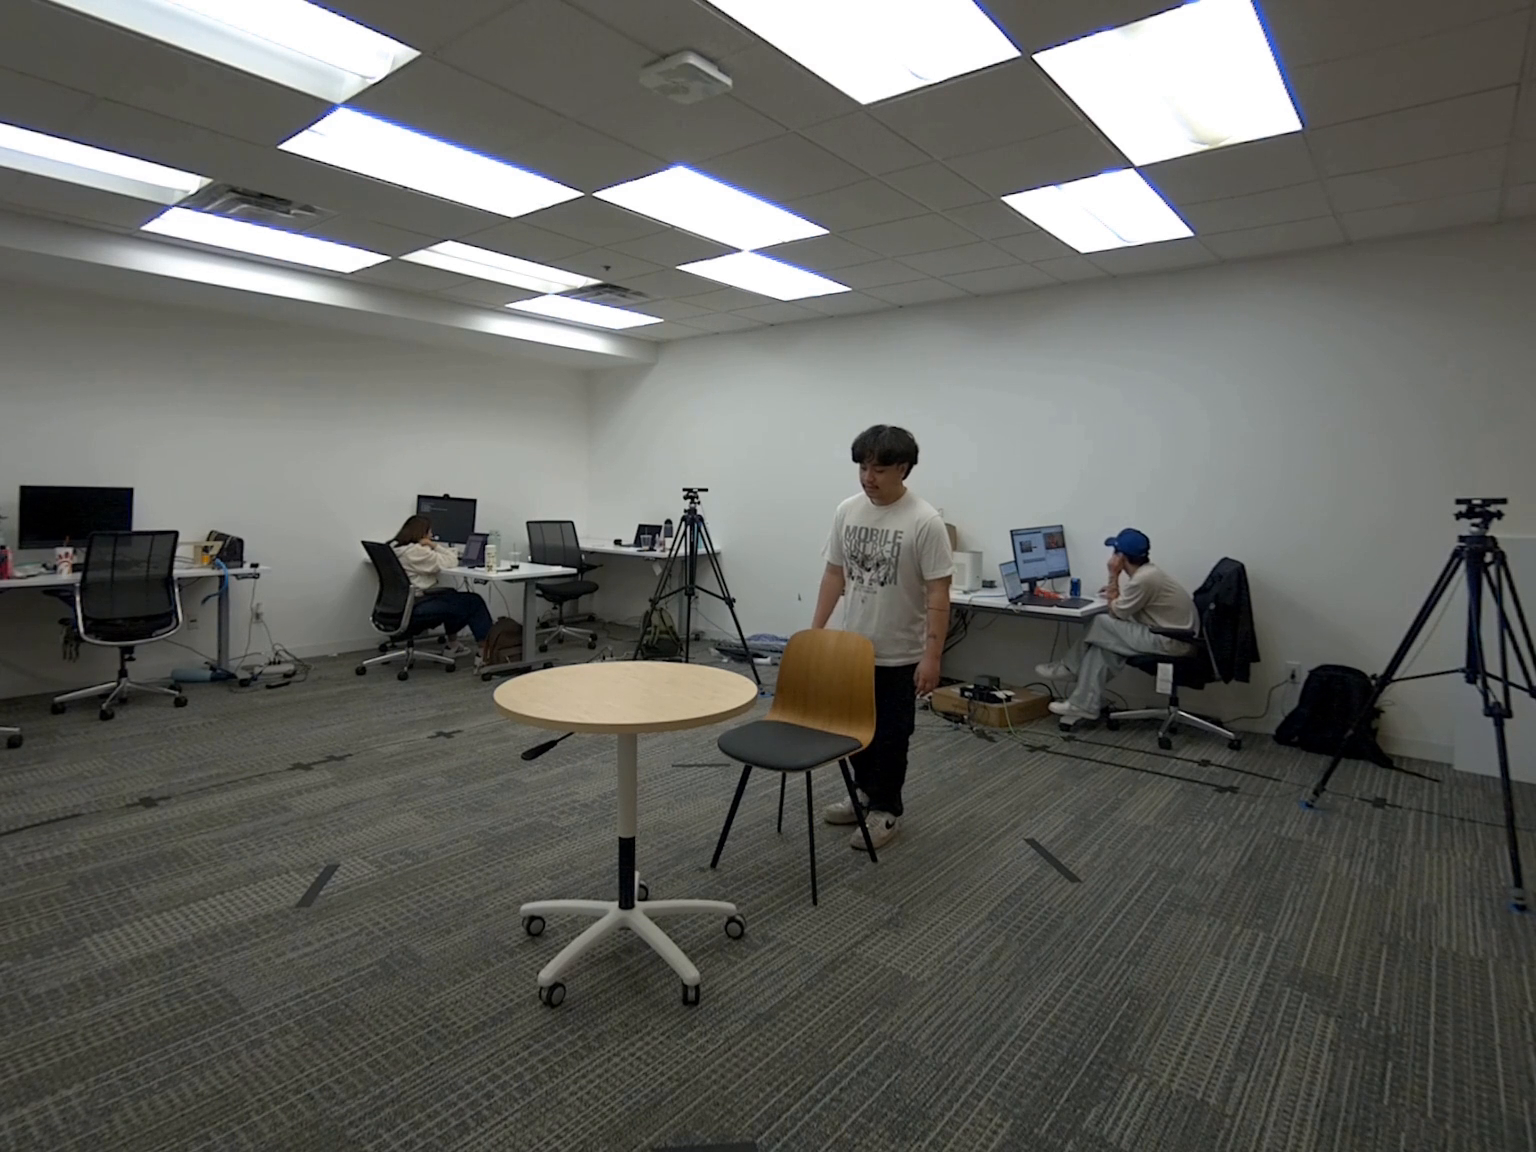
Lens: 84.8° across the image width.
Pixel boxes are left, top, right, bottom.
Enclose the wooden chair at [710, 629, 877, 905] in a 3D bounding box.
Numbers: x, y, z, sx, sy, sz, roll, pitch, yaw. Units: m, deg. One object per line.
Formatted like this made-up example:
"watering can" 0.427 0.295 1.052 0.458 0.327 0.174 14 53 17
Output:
"wooden chair" 0.098 0.642 3.130 0.494 0.878 0.506 4 0 36
